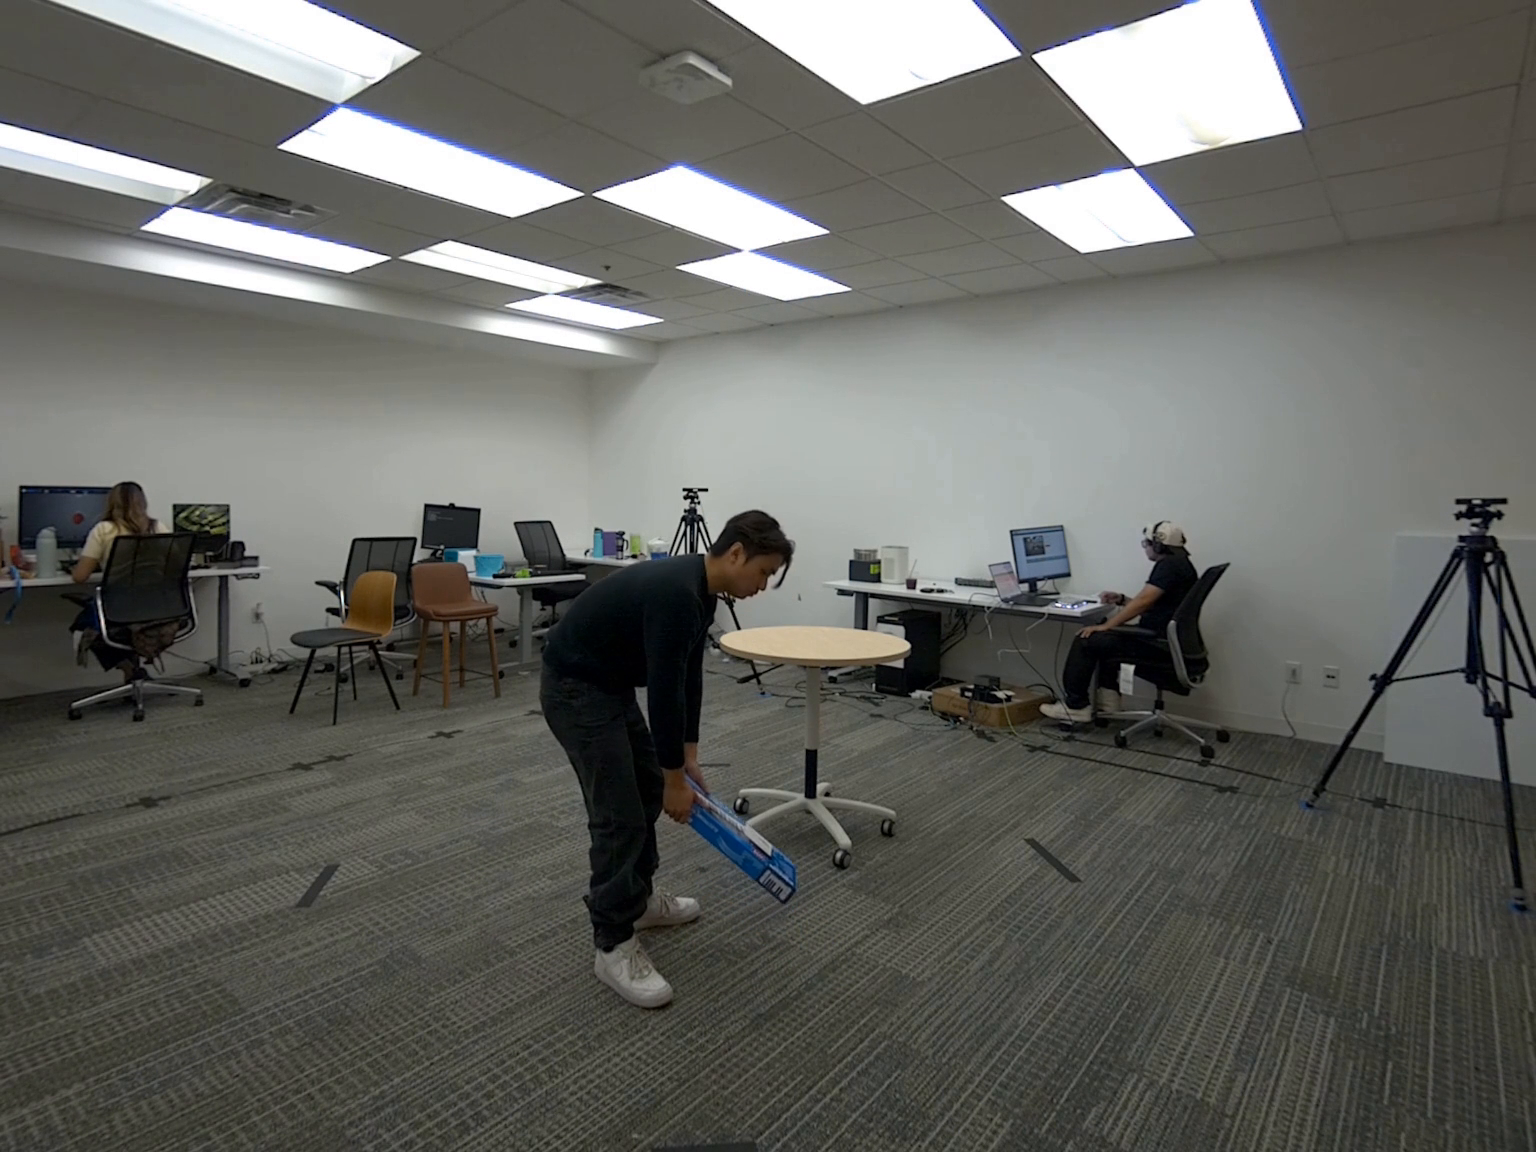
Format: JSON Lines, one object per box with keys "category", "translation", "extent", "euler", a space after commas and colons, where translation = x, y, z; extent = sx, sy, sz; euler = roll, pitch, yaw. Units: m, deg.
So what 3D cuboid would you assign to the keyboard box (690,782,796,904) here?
{"category": "keyboard box", "translation": [-0.107, 0.771, 2.507], "extent": [0.438, 0.059, 0.176], "euler": [39, 6, 1]}
